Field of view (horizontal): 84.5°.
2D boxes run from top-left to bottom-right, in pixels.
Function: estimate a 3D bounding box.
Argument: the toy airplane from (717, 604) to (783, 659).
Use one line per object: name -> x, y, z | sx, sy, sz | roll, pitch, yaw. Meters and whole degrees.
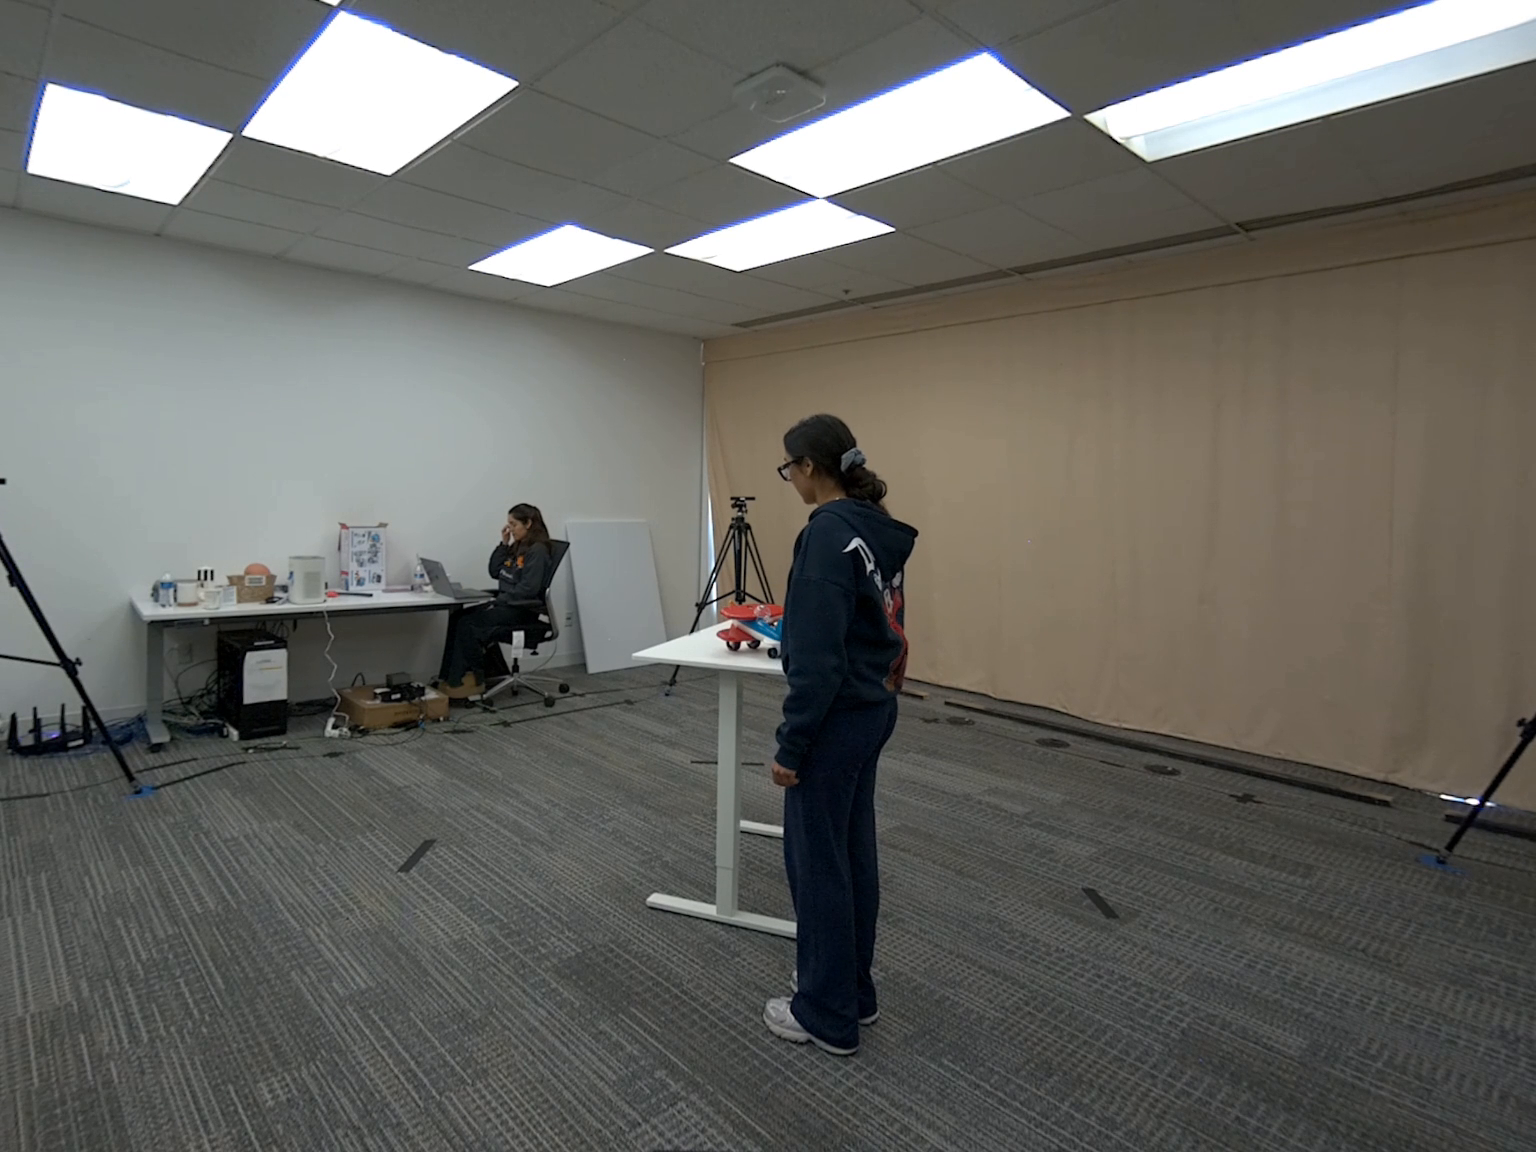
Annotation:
toy airplane -> -0.026, 0.182, 2.812 | 0.264, 0.156, 0.247 | 3, 4, 23
